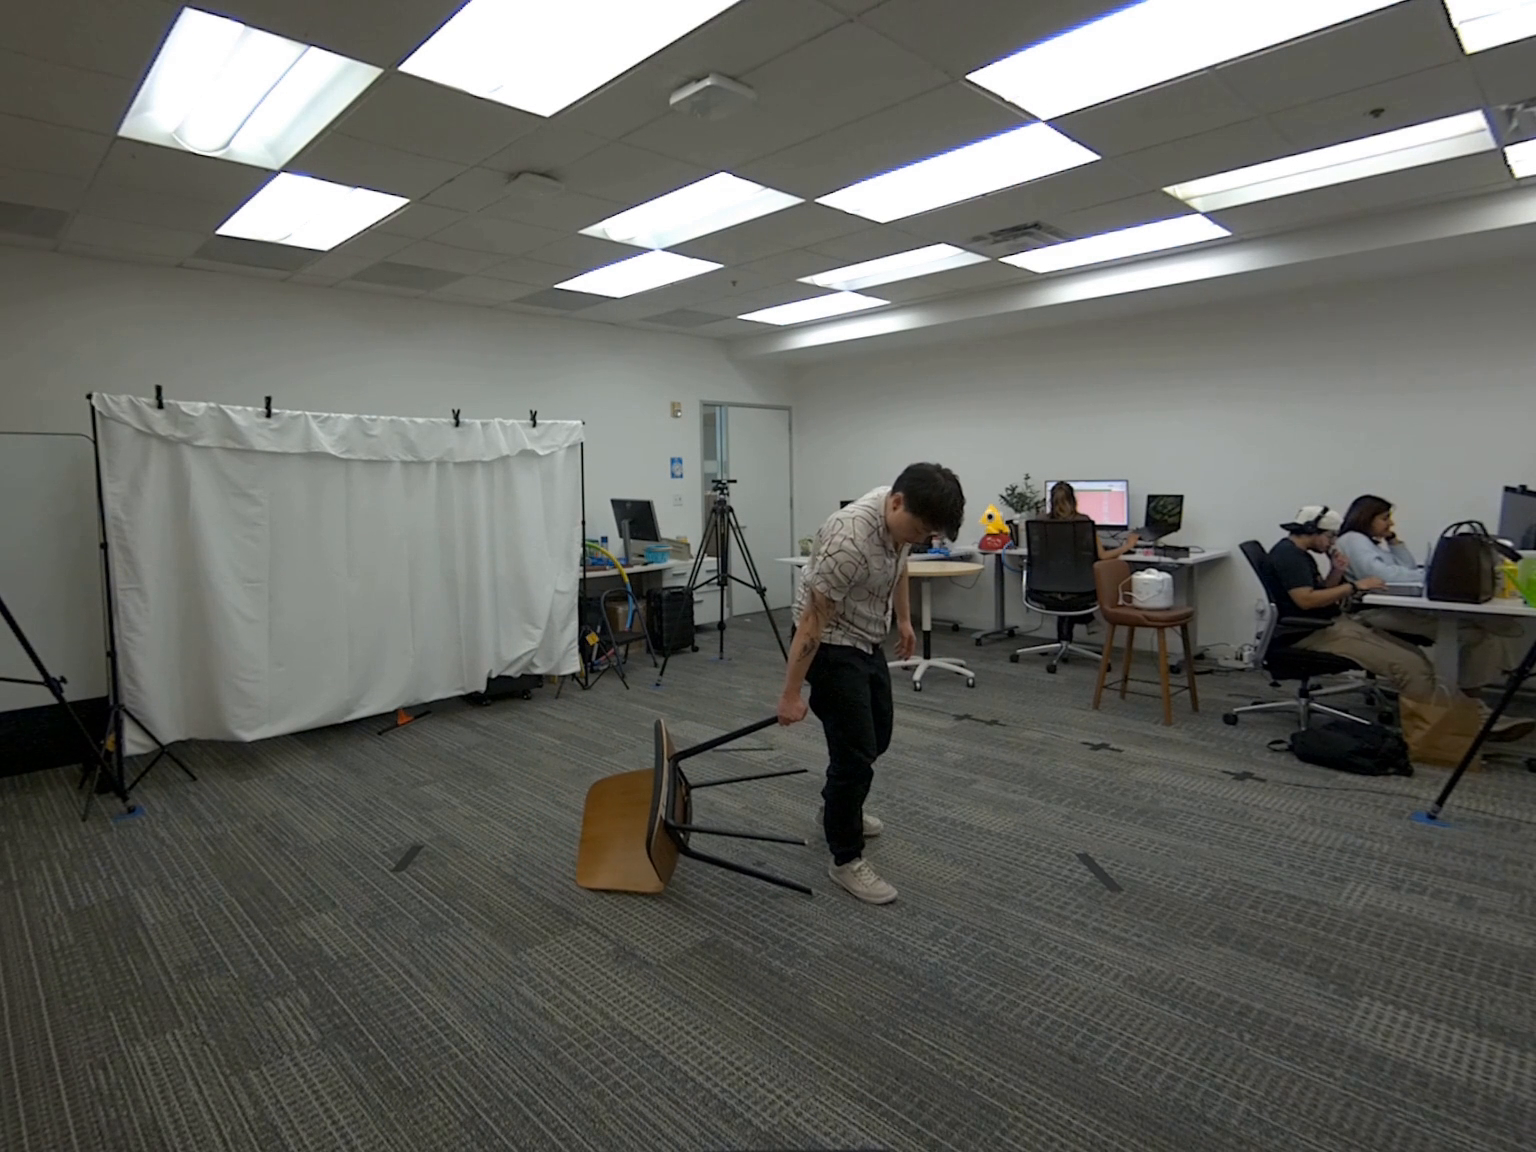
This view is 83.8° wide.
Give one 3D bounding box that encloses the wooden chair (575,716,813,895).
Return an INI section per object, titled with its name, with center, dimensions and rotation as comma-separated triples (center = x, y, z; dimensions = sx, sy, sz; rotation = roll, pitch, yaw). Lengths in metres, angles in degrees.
[wooden chair]
center = -0.298, 0.777, 2.862
dimensions = 0.885, 0.490, 0.505
rotation = -5, -40, 9
